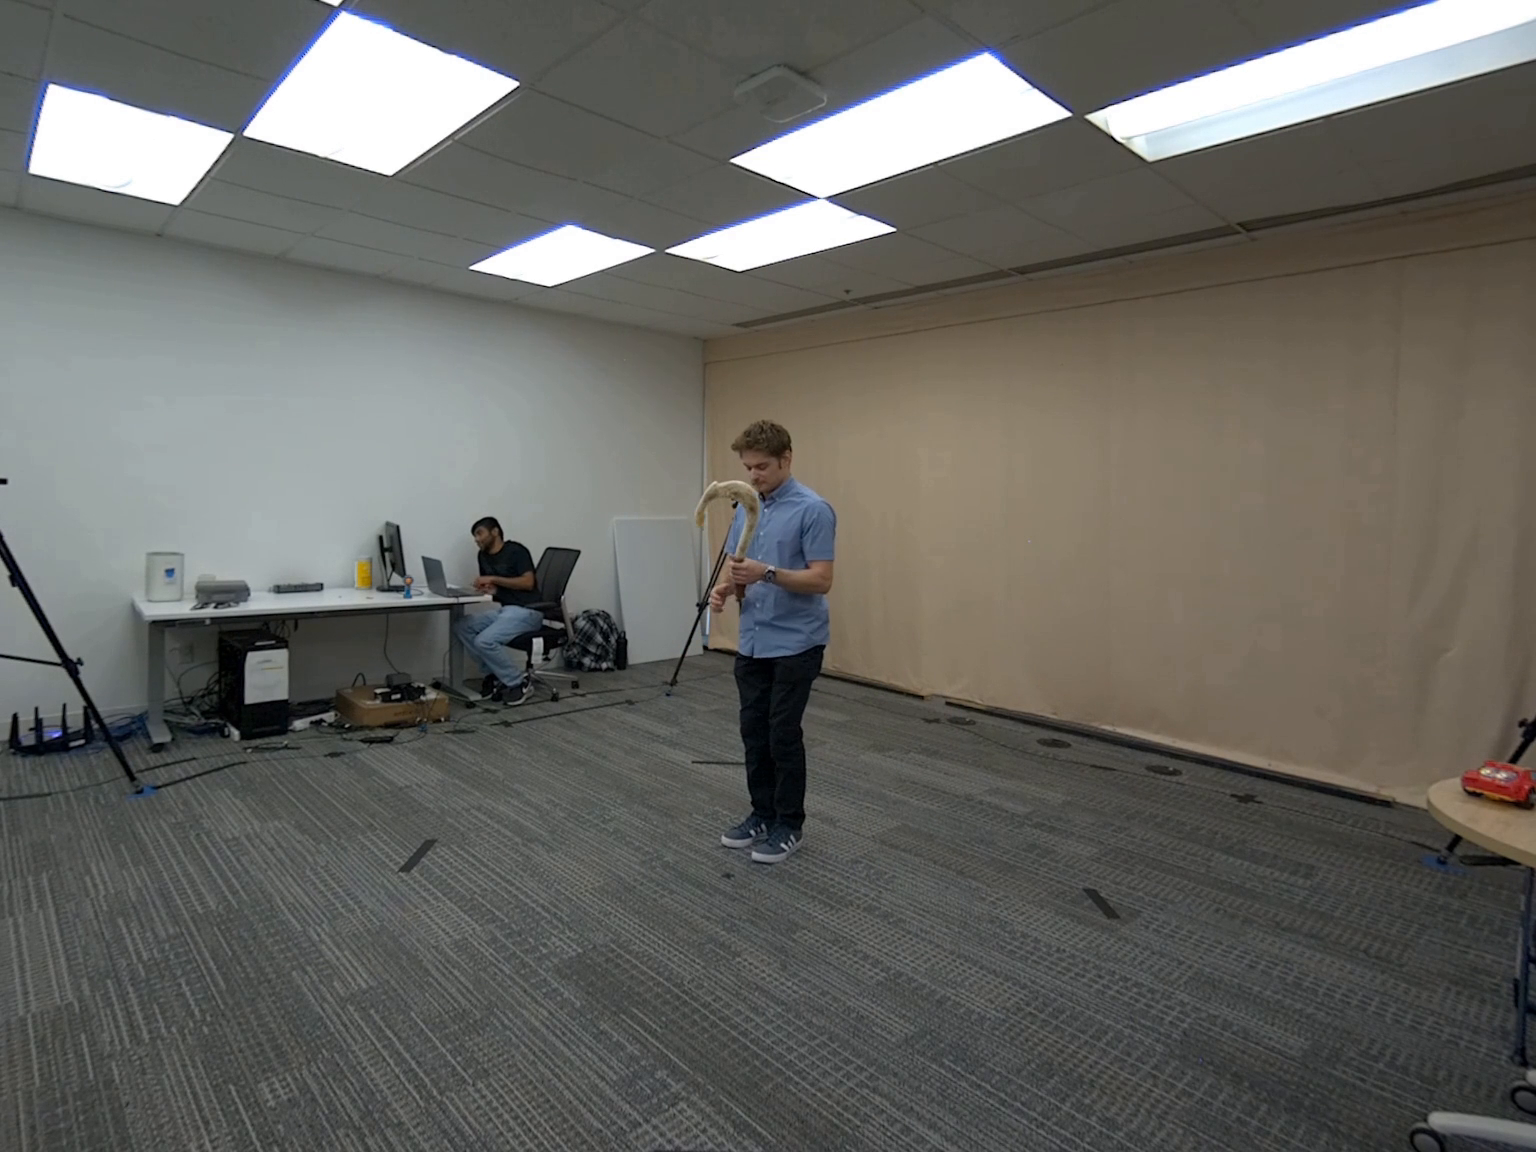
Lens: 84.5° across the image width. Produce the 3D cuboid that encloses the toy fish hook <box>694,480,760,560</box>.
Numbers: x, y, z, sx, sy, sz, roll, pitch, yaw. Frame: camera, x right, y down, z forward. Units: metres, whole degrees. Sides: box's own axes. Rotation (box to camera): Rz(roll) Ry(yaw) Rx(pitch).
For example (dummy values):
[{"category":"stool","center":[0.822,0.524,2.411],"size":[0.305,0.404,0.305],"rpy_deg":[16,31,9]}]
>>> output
[{"category":"toy fish hook","center":[-0.166,-0.113,2.984],"size":[0.224,0.497,0.049],"rpy_deg":[-1,32,-3]}]
